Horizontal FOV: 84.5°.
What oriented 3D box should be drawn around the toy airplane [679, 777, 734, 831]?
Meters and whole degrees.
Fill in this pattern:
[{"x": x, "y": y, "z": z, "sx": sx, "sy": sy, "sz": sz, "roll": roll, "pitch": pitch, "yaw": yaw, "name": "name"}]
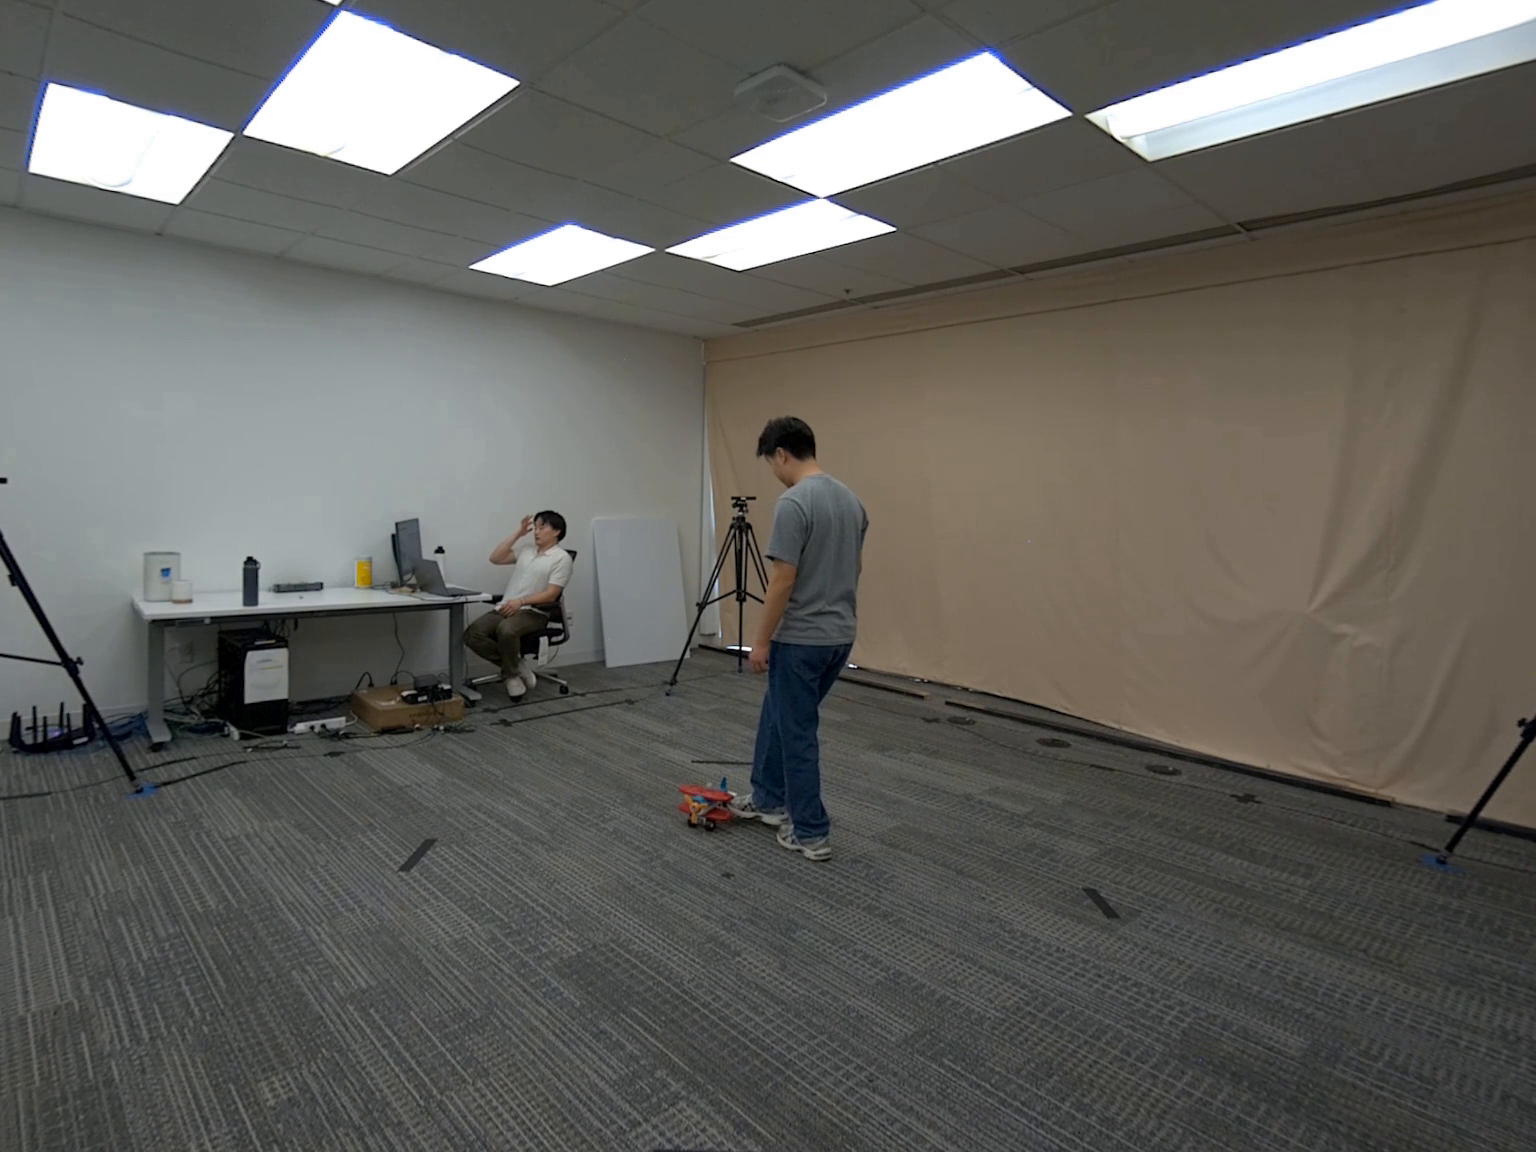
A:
[{"x": -0.267, "y": 0.965, "z": 3.606, "sx": 0.252, "sy": 0.154, "sz": 0.262, "roll": -5, "pitch": 17, "yaw": 3, "name": "toy airplane"}]
